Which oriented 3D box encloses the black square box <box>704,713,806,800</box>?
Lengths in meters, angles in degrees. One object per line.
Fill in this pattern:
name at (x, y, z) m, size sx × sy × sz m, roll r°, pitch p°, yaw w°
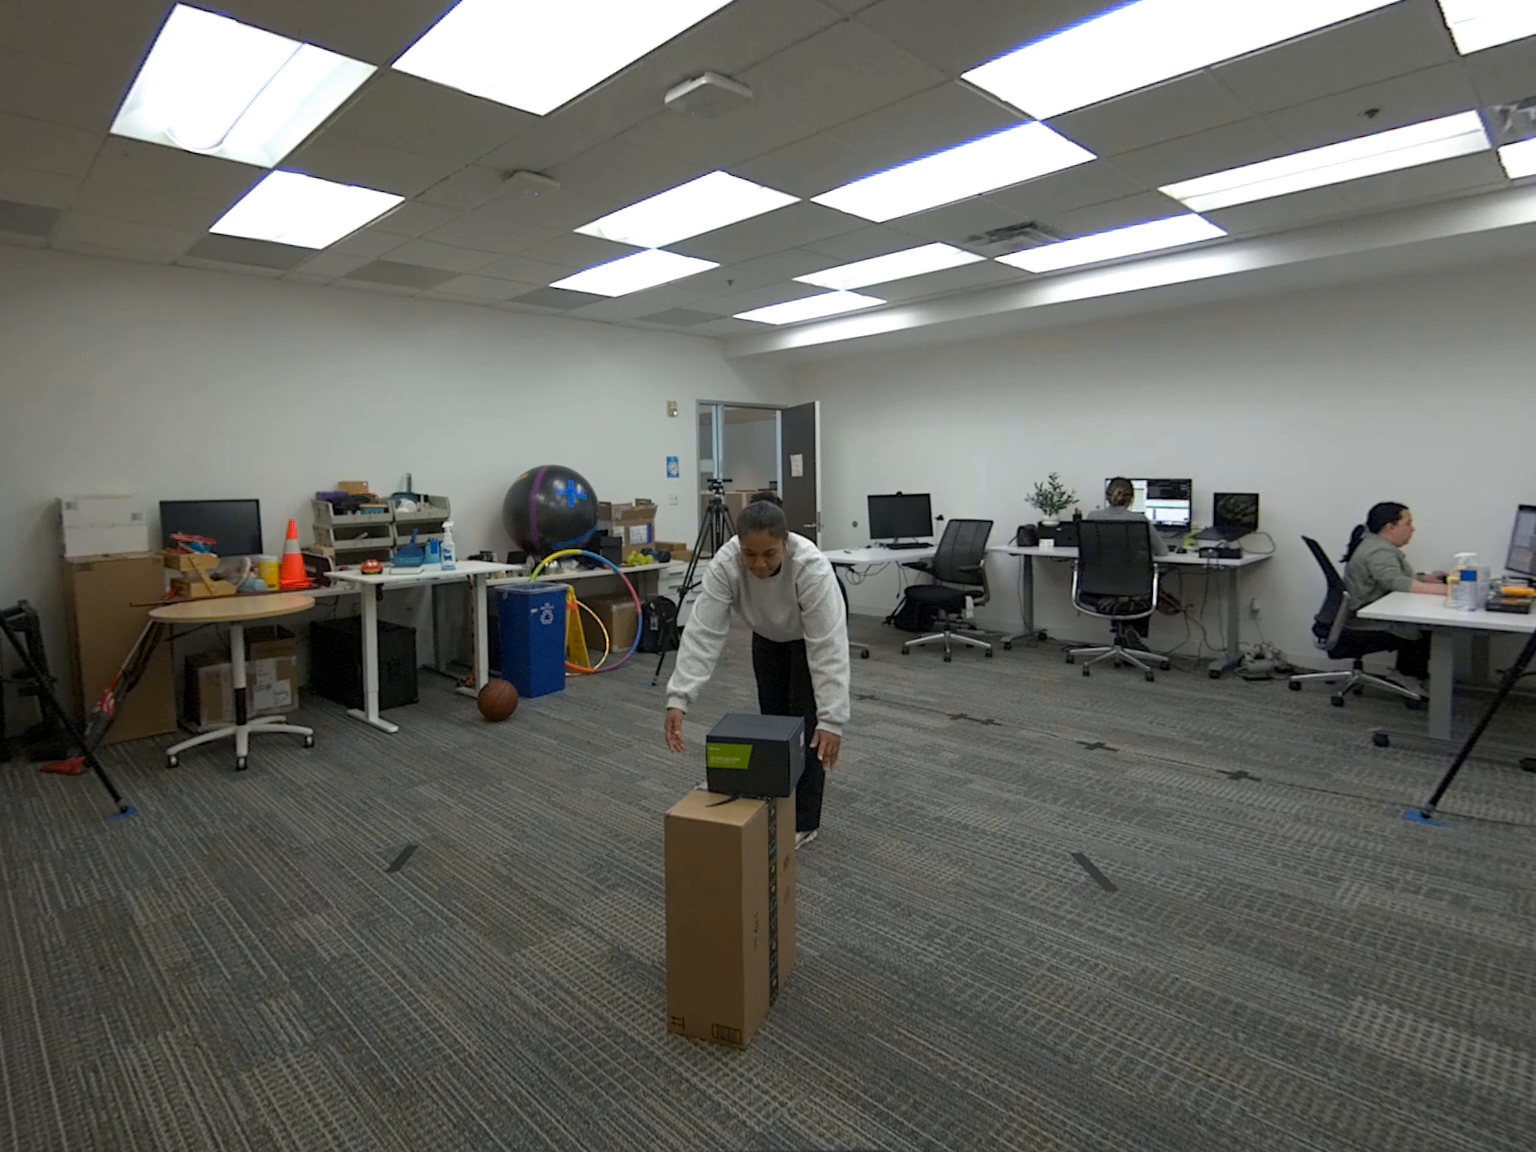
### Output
black square box at (-0.031, 0.484, 2.359) m, size 0.231 × 0.155 × 0.215 m, roll 0°, pitch 7°, yaw 15°
